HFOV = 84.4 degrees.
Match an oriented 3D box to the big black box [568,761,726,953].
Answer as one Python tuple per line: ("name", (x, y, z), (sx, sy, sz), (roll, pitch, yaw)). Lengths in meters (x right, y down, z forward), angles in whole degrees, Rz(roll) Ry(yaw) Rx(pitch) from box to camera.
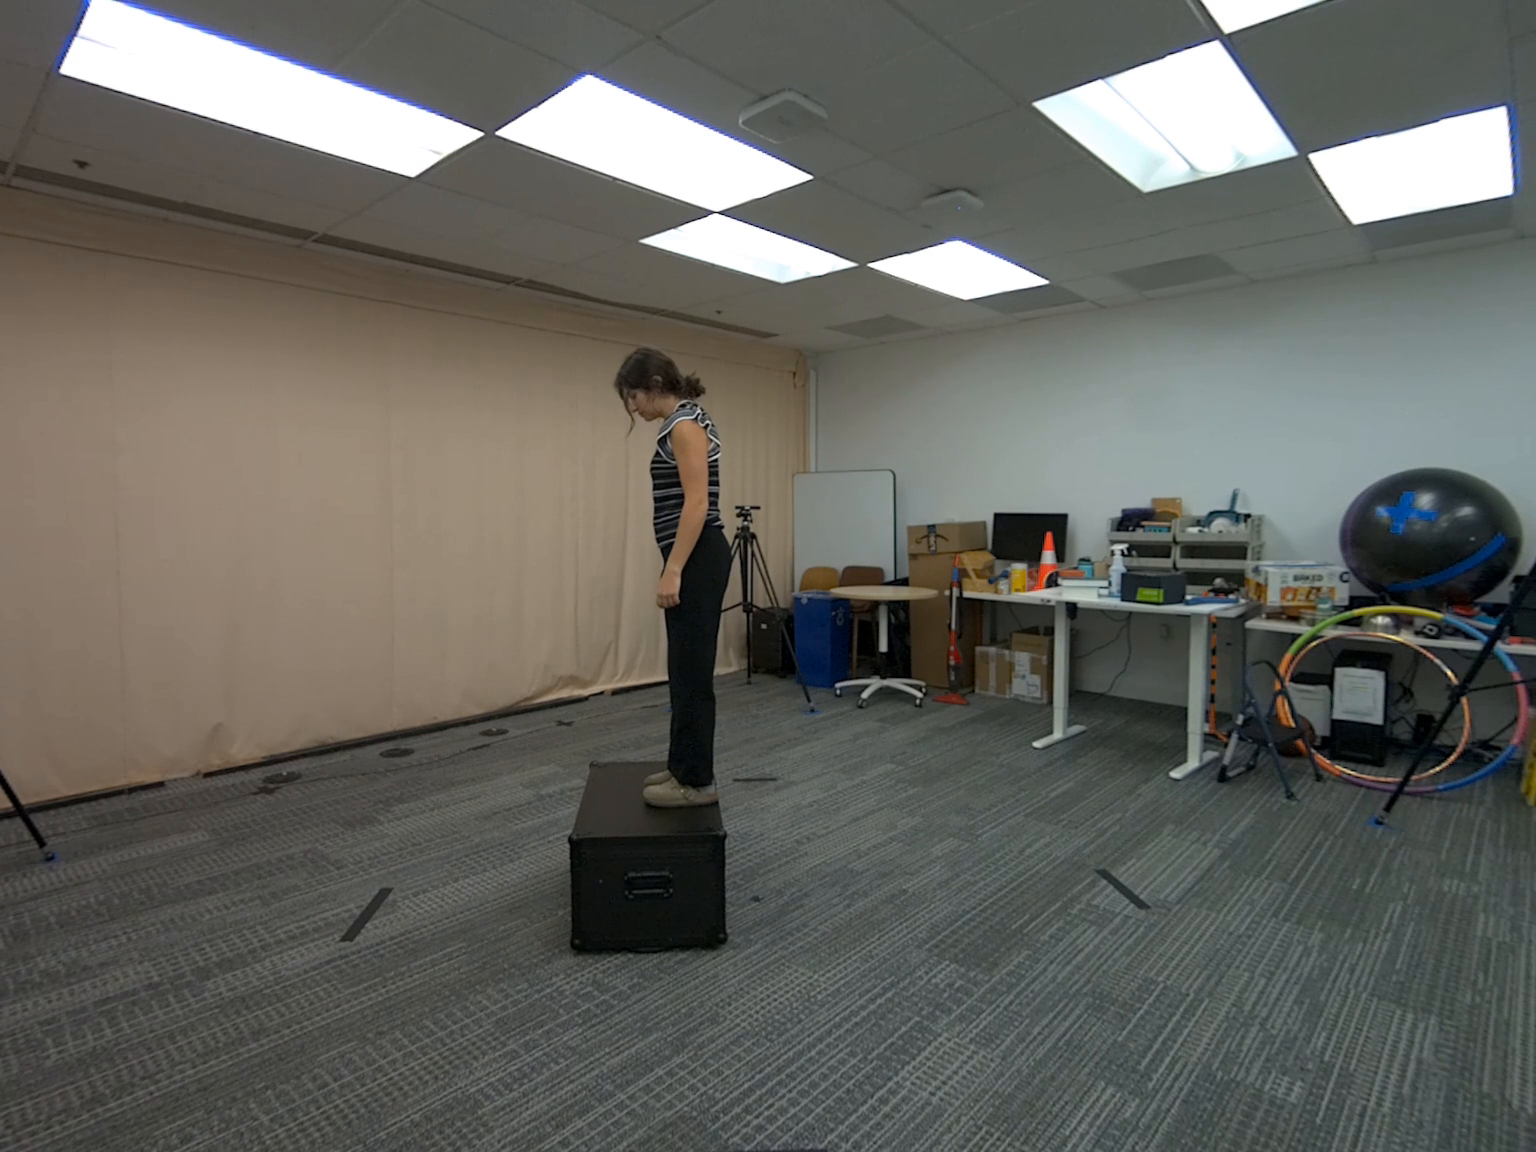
("big black box", (-0.418, 0.951, 3.026), (0.518, 0.395, 0.869), (0, 4, -7))
